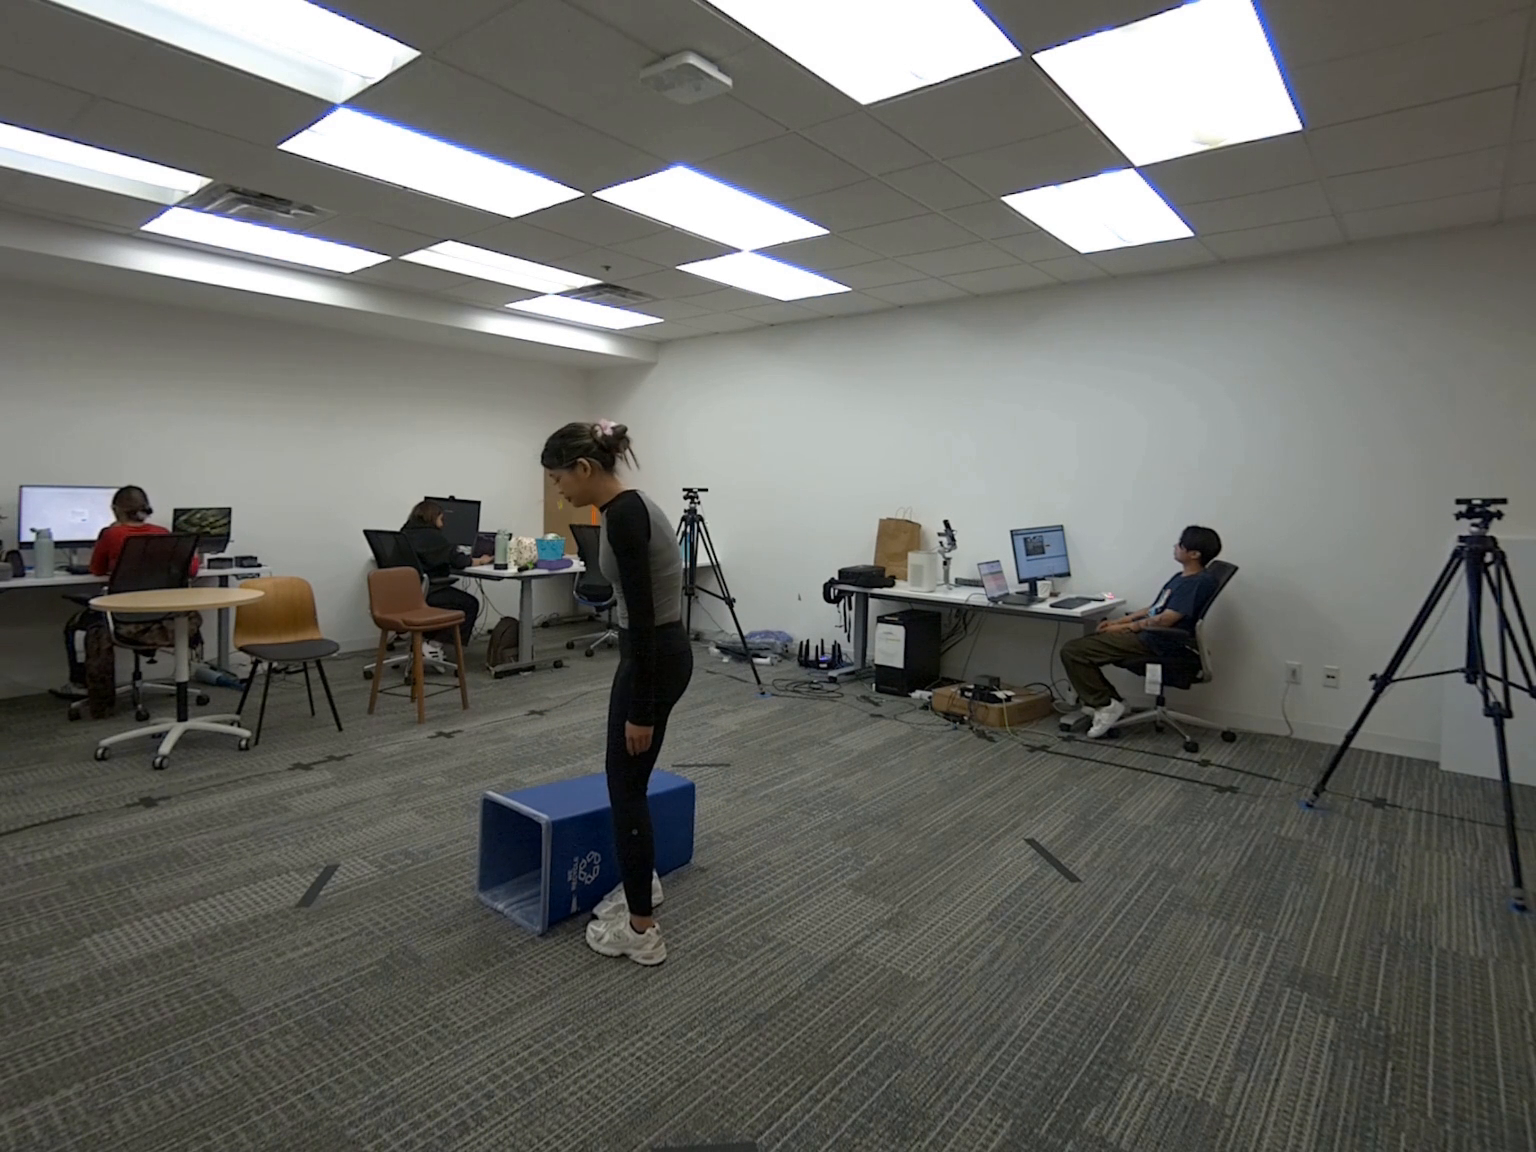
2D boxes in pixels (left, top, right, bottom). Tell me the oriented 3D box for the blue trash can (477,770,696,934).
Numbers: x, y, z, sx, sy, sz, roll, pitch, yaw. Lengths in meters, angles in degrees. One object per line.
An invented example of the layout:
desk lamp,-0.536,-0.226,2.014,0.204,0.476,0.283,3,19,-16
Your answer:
blue trash can,-0.626,0.898,3.001,0.391,0.373,0.692,3,4,40
